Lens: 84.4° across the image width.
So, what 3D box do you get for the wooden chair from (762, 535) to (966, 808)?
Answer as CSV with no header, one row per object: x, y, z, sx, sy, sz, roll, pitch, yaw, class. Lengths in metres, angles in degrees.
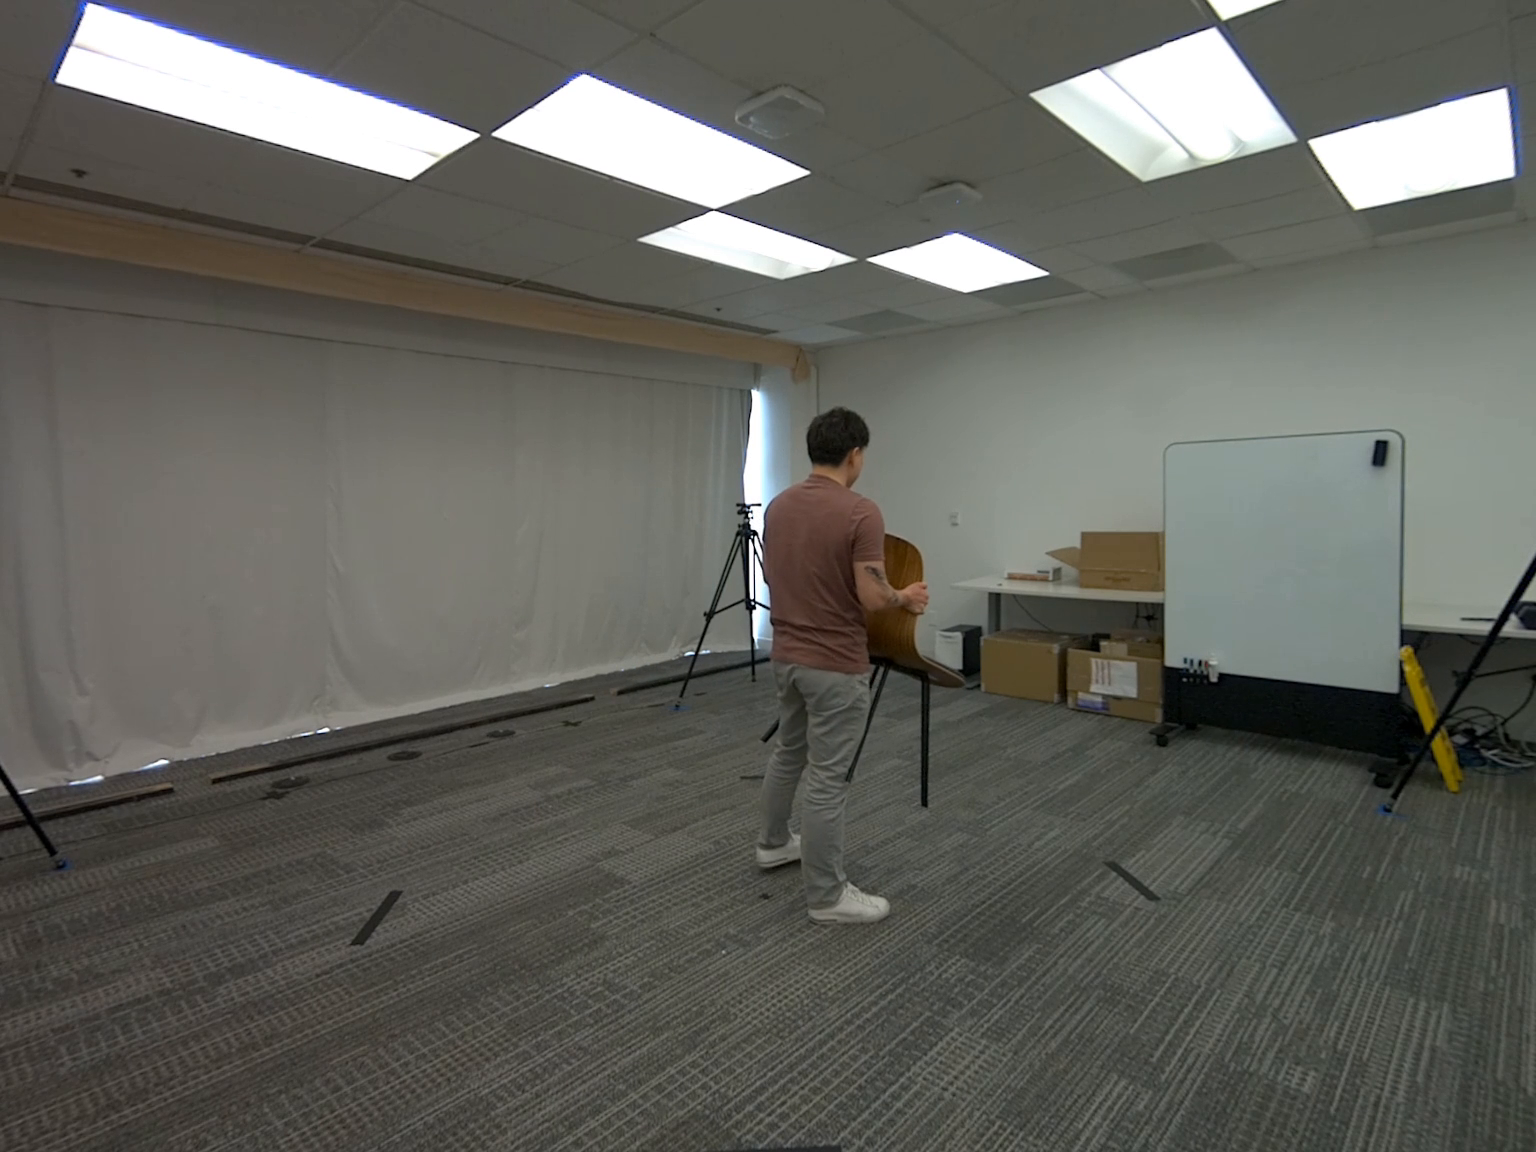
0.435,0.327,3.102,0.504,0.879,0.495,22,-7,-40,wooden chair
